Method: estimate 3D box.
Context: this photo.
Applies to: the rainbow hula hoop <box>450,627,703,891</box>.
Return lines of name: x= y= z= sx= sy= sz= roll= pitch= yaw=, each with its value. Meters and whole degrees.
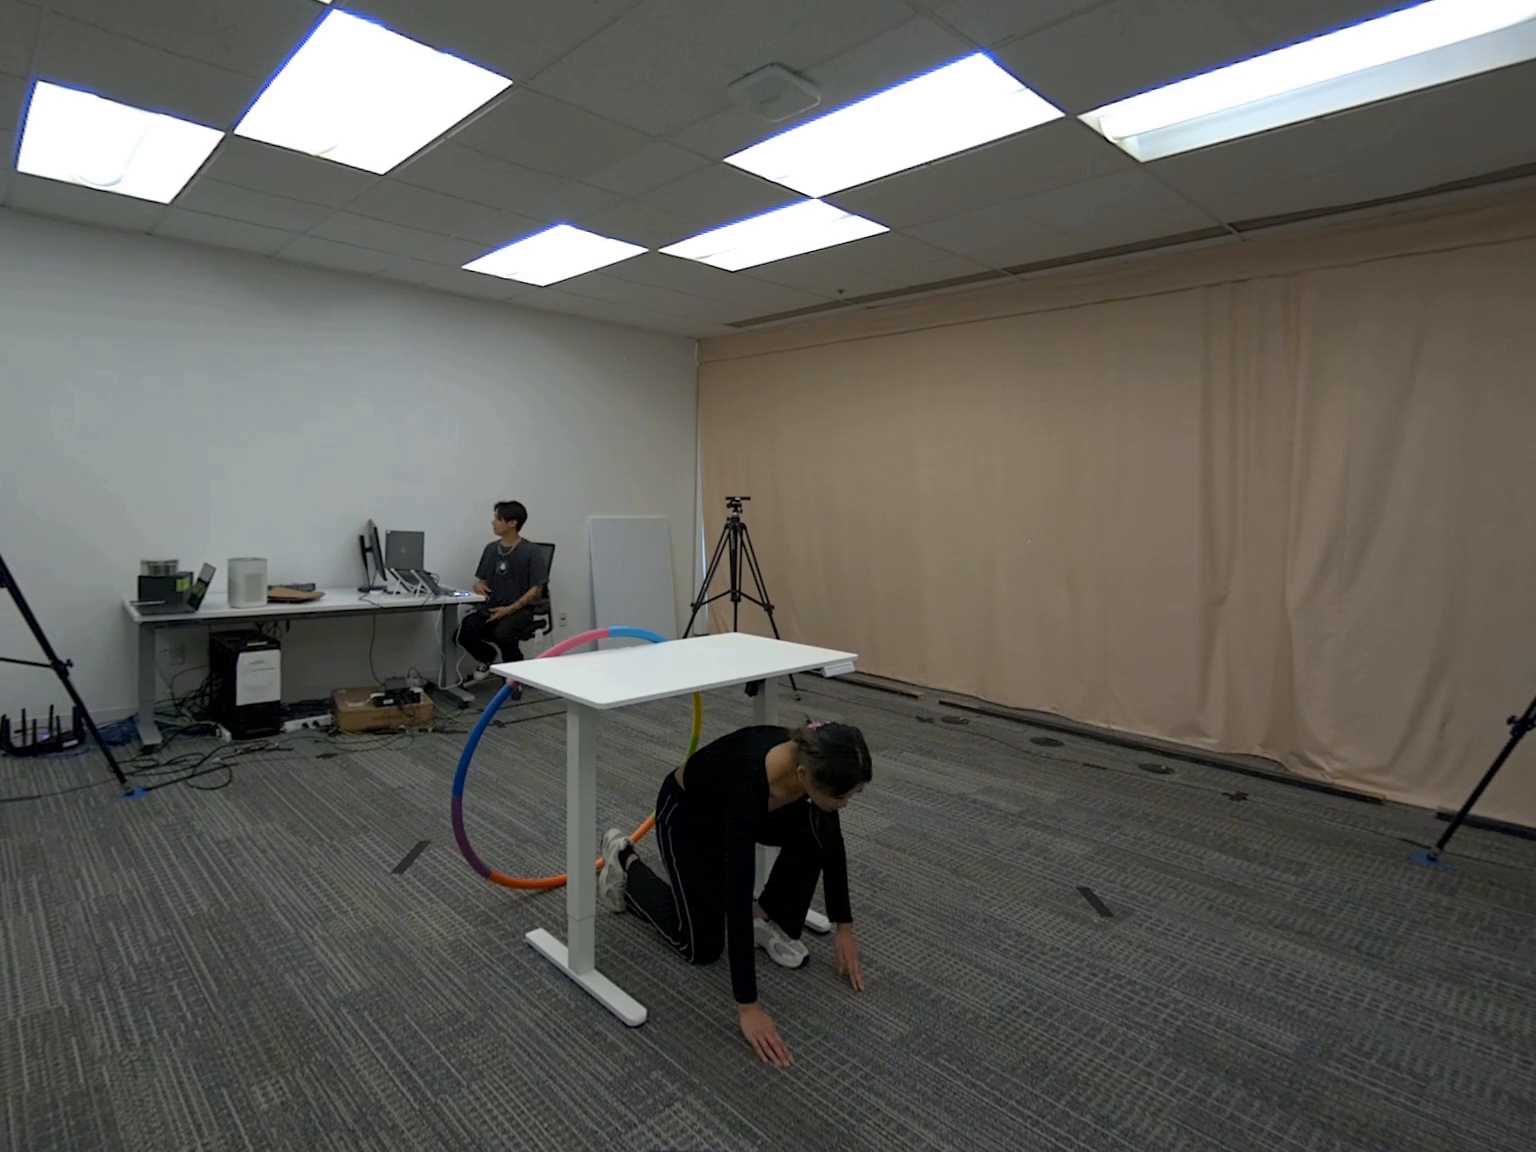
rainbow hula hoop: x=-0.622 y=0.639 z=2.913 sx=0.956 sy=0.971 sz=0.036 roll=-3 pitch=21 yaw=-44
